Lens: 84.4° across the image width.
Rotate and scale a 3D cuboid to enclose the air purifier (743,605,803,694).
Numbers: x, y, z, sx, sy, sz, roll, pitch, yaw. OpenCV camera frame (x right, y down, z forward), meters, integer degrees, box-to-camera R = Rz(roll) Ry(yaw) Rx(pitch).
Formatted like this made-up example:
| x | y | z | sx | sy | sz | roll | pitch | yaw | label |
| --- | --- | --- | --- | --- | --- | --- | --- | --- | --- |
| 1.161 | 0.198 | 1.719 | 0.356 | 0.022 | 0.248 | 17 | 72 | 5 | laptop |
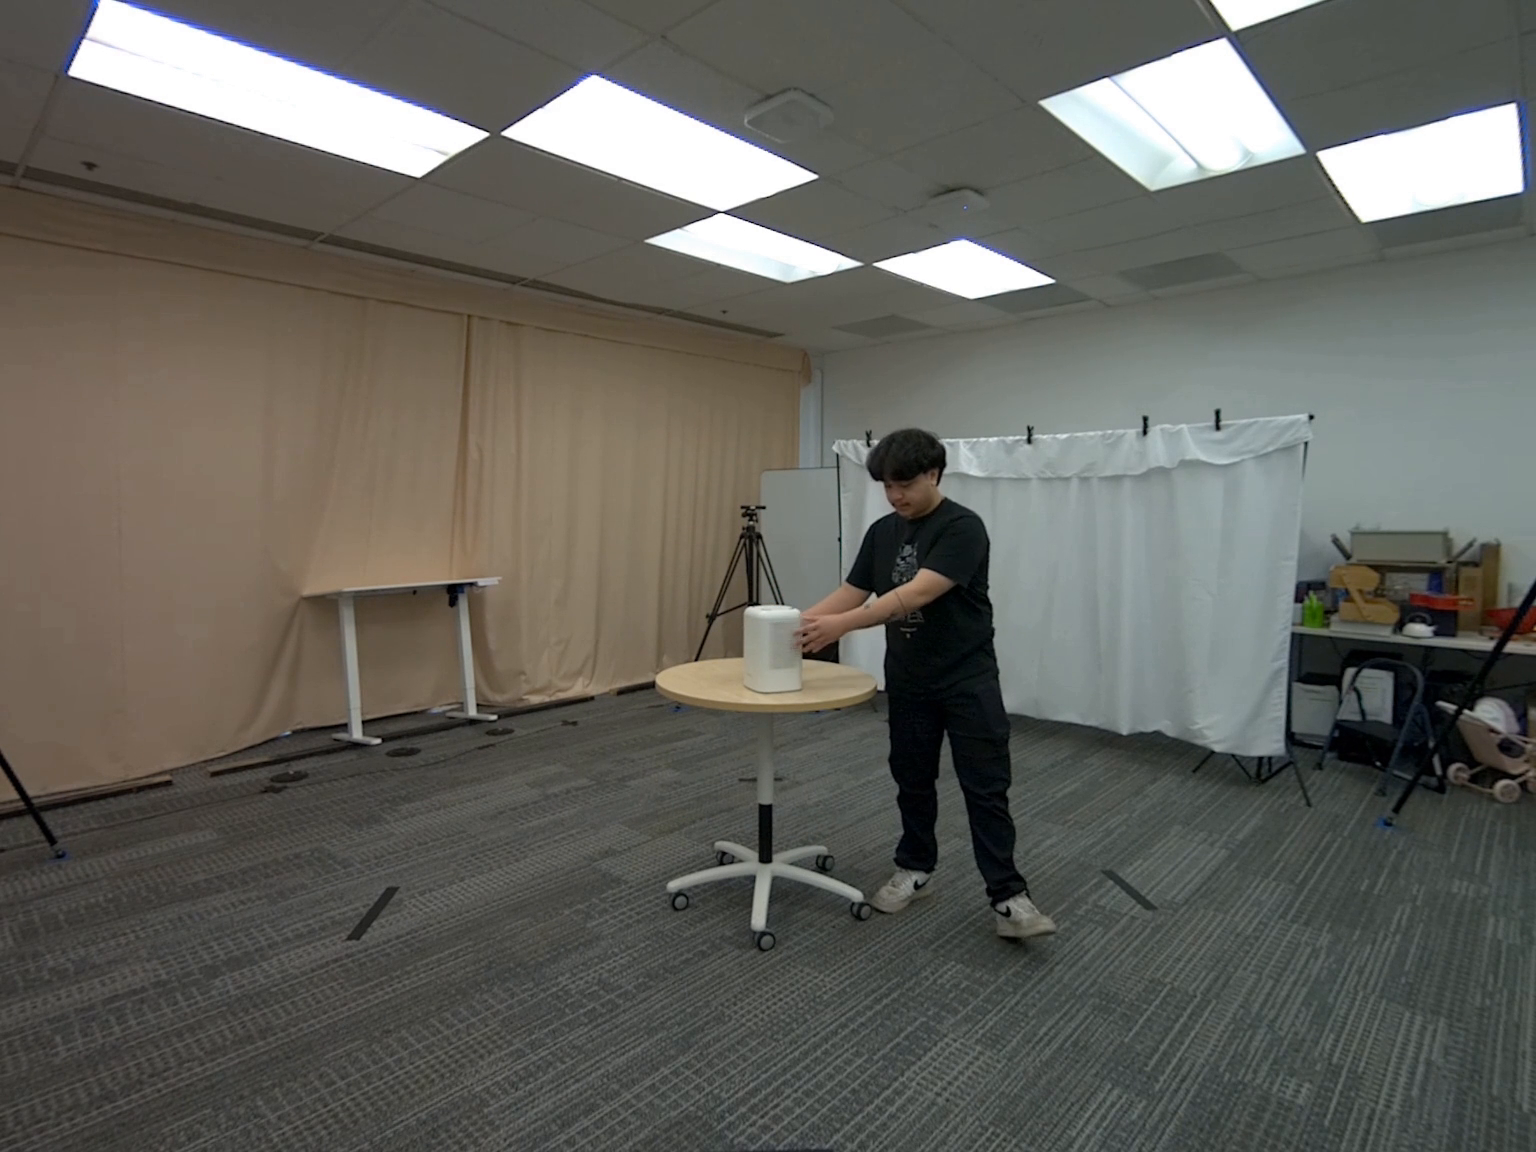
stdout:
| x | y | z | sx | sy | sz | roll | pitch | yaw | label |
| --- | --- | --- | --- | --- | --- | --- | --- | --- | --- |
| 0.022 | 0.239 | 2.772 | 0.168 | 0.265 | 0.175 | -2 | 4 | -22 | air purifier |
